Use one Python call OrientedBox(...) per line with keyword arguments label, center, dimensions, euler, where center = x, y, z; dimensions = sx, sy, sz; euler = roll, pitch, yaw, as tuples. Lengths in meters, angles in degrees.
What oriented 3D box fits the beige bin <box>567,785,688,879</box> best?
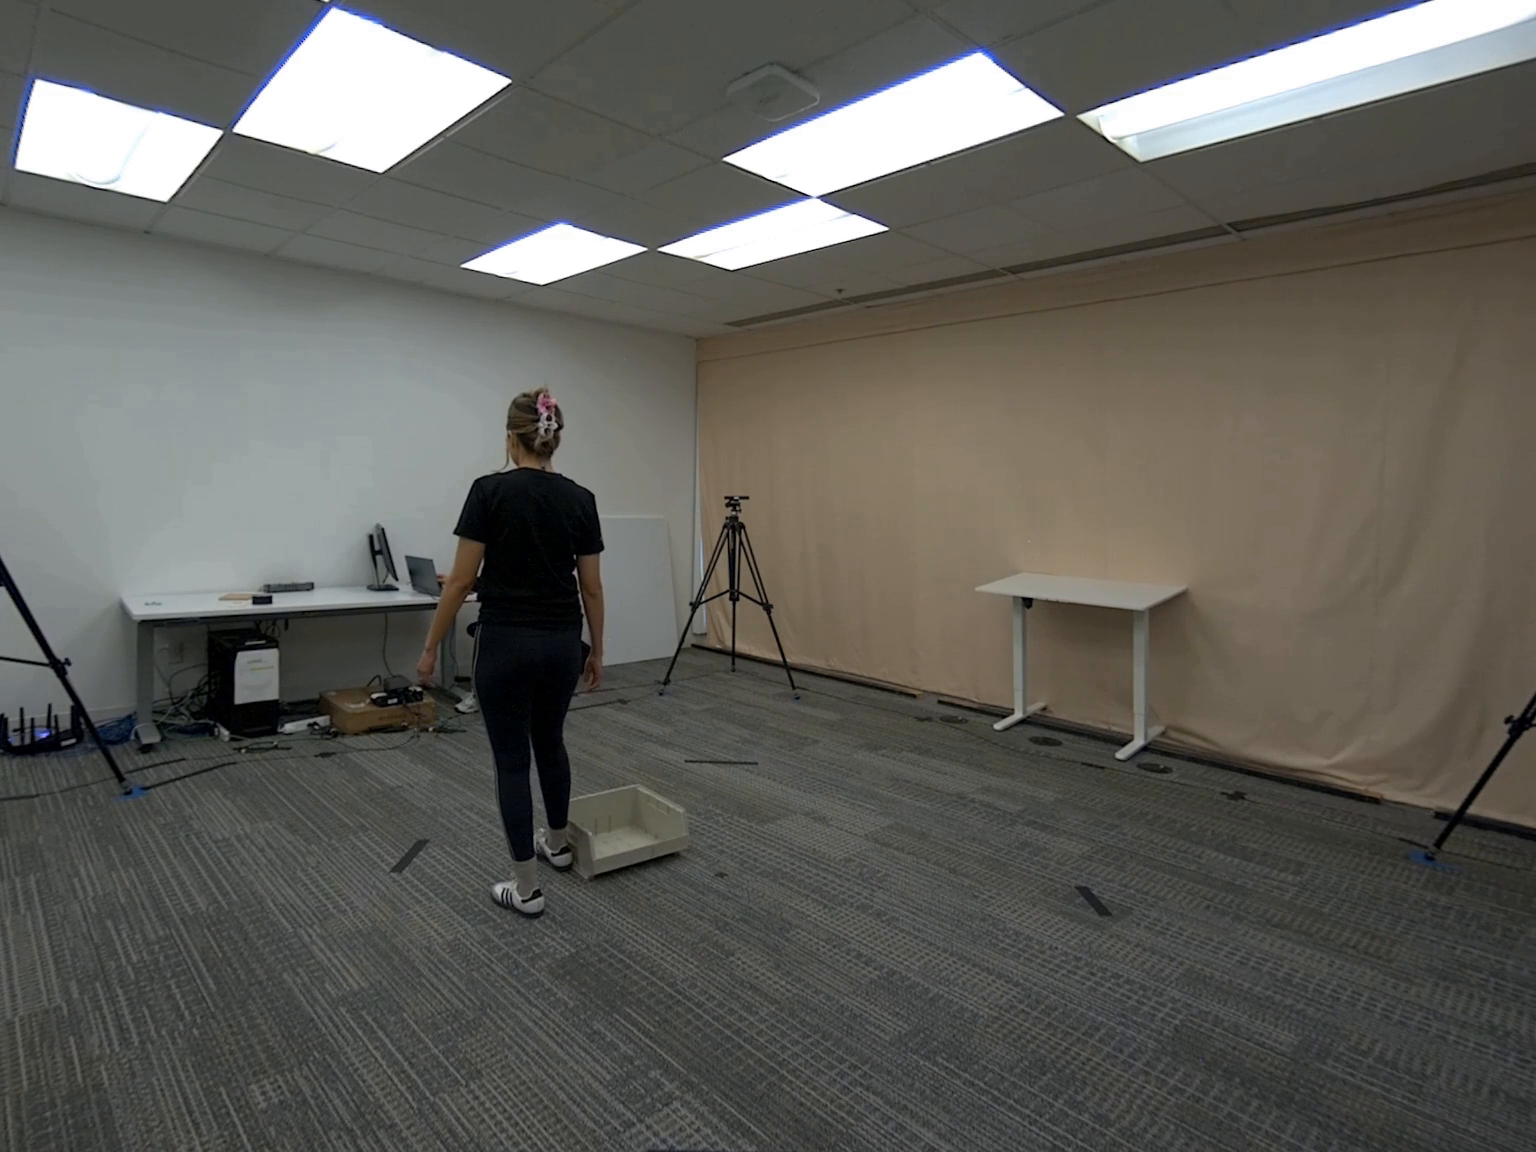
OrientedBox(label="beige bin", center=(-0.593, 0.990, 3.263), dimensions=(0.413, 0.188, 0.387), euler=(-3, 6, -39))
